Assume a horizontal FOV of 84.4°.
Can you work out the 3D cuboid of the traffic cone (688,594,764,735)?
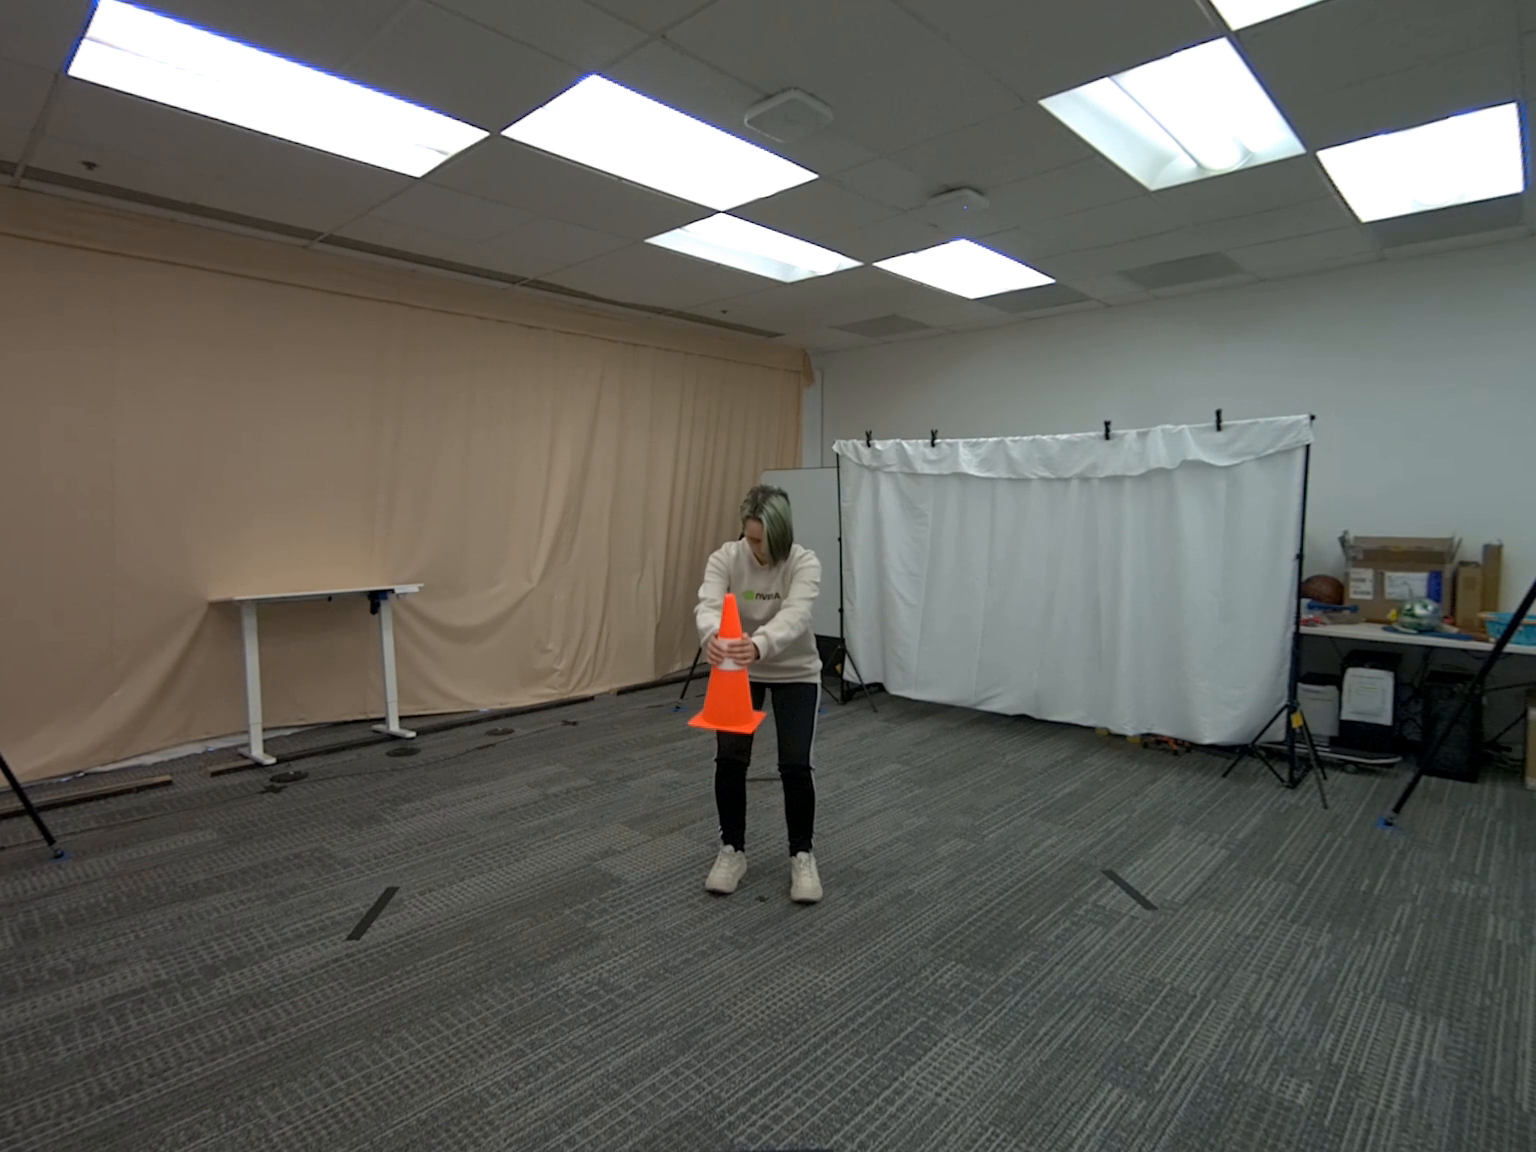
[{"bbox_3d":[-0.115,0.248,2.519,0.209,0.382,0.200,3,8,20],"label":"traffic cone"}]
